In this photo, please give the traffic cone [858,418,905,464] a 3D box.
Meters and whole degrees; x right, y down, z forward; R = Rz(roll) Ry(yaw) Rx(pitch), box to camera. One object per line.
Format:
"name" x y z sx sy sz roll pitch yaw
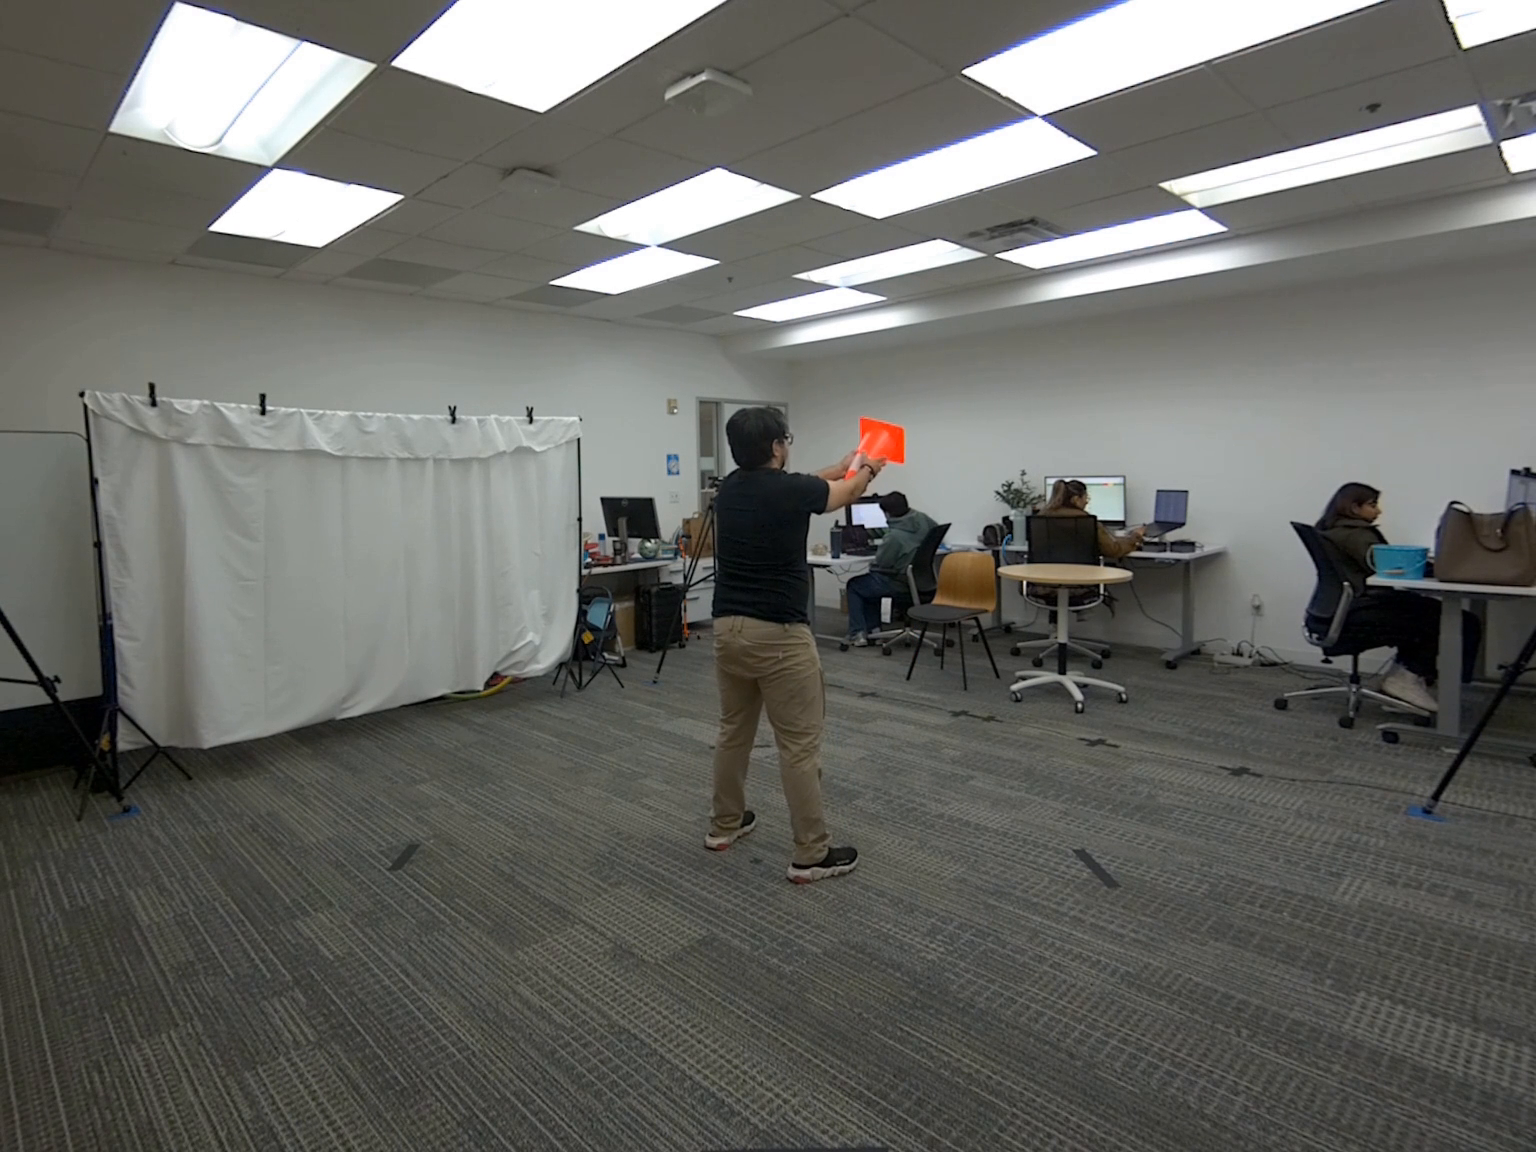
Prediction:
"traffic cone" 0.384 -0.439 3.465 0.211 0.197 0.385 19 53 27
